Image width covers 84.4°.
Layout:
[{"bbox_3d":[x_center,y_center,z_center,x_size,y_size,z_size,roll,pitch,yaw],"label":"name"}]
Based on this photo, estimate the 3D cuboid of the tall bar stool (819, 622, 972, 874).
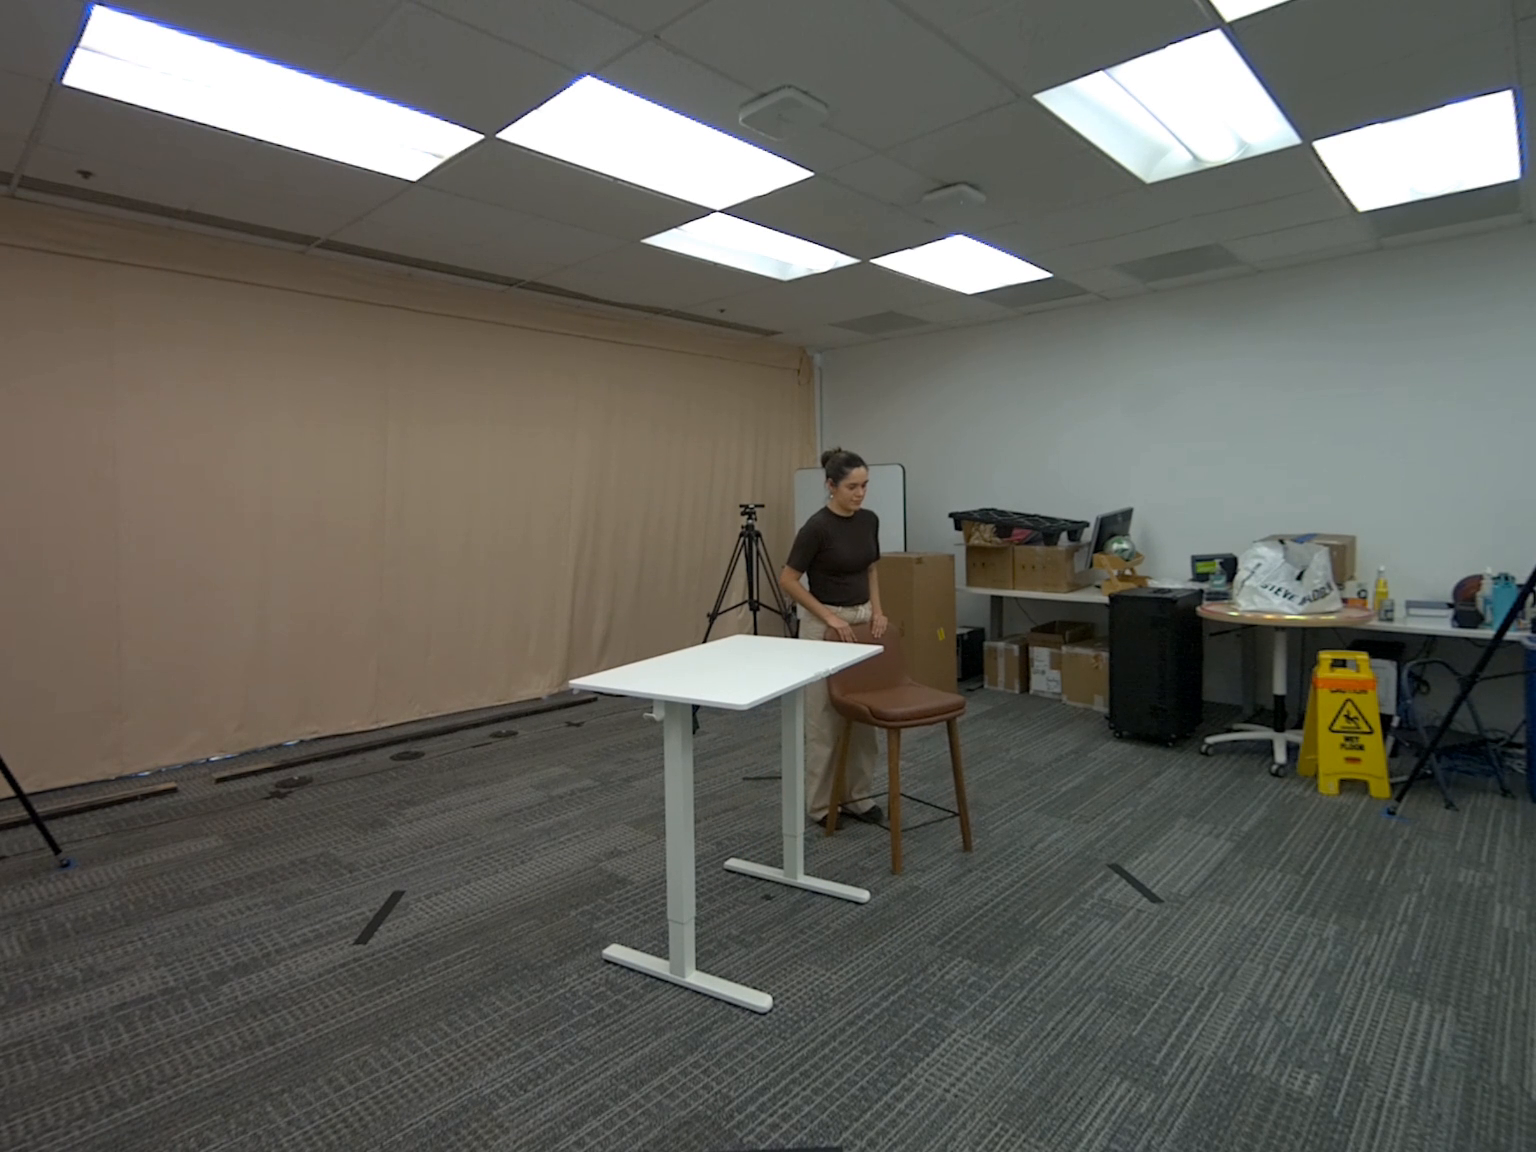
[{"bbox_3d":[0.521,0.654,3.422,0.444,0.889,0.481,-2,2,-33],"label":"tall bar stool"}]
